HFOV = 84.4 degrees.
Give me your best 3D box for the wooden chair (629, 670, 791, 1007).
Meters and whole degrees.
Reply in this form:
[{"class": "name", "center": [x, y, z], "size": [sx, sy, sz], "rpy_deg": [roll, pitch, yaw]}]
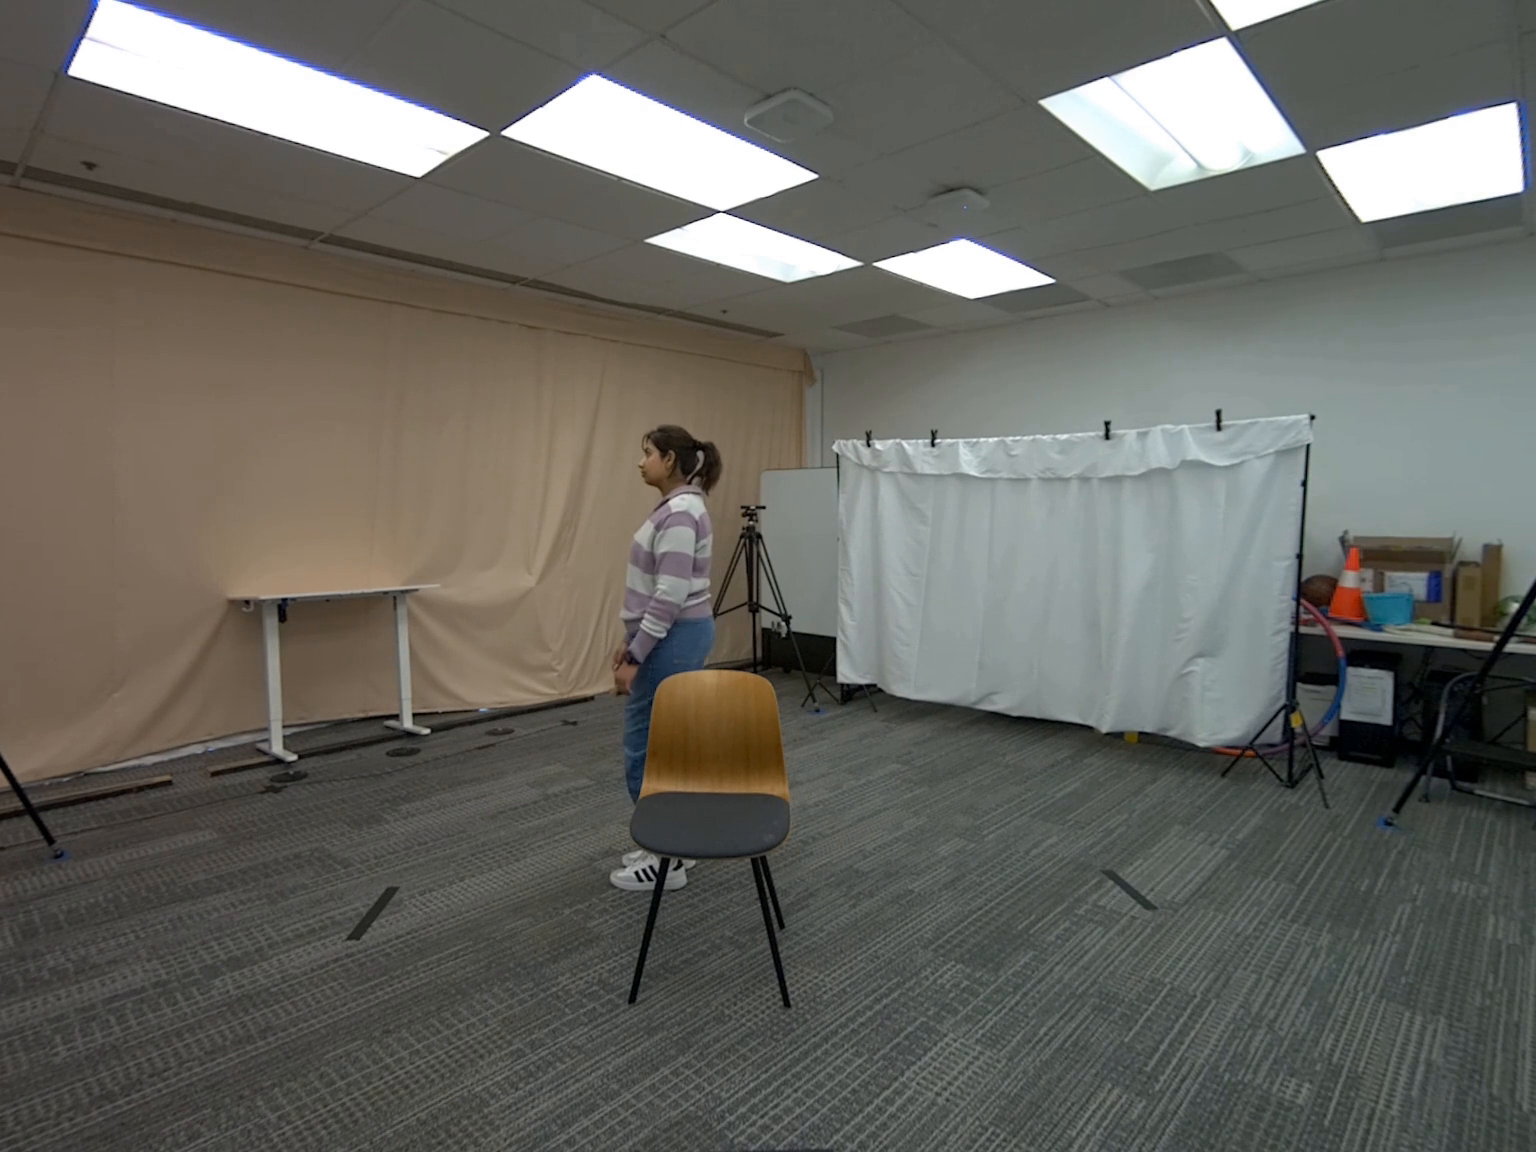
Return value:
[{"class": "wooden chair", "center": [-0.157, 0.754, 2.531], "size": [0.479, 0.878, 0.522], "rpy_deg": [1, -1, 1]}]
